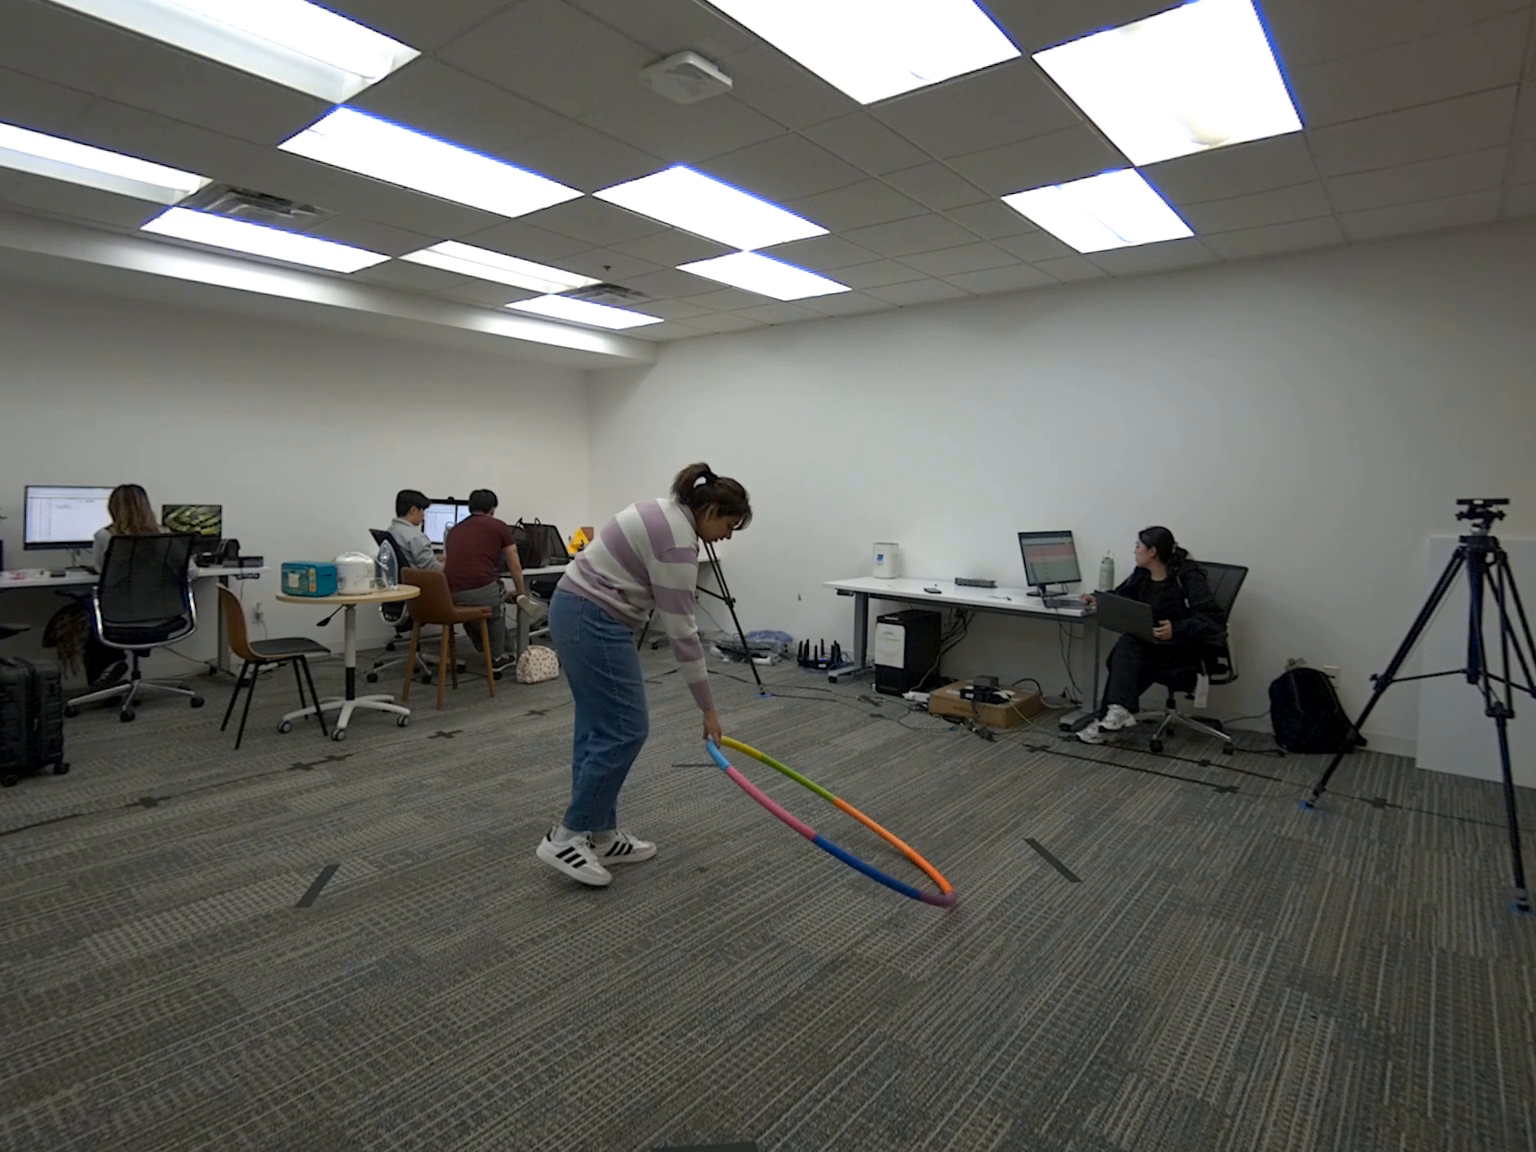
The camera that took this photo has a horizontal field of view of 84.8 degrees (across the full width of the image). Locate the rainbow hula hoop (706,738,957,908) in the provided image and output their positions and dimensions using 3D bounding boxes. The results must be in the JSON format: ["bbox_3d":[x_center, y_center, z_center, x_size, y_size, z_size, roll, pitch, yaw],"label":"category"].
[{"bbox_3d":[0.207,0.834,2.977,0.980,0.035,0.978,31,-2,-1],"label":"rainbow hula hoop"}]
